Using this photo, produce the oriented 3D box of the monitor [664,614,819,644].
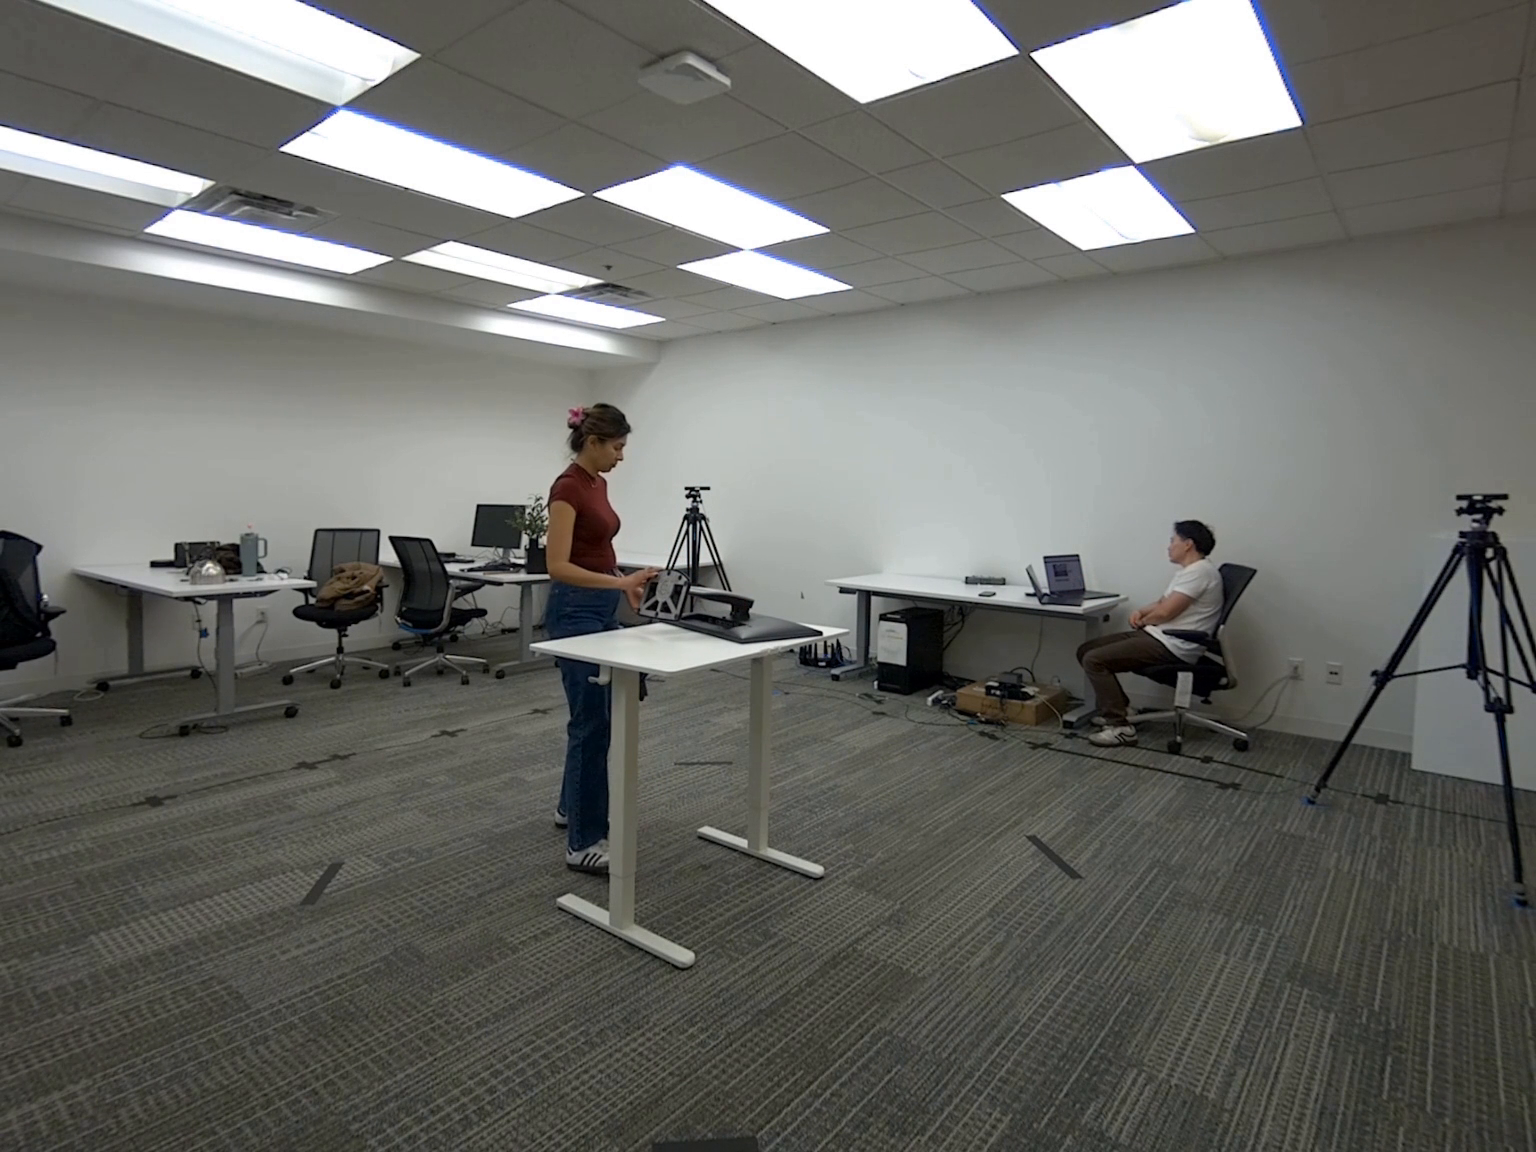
[{"bbox_3d":[-0.177,0.124,3.042,0.504,0.188,0.557,18,-5,-35],"label":"monitor"}]
